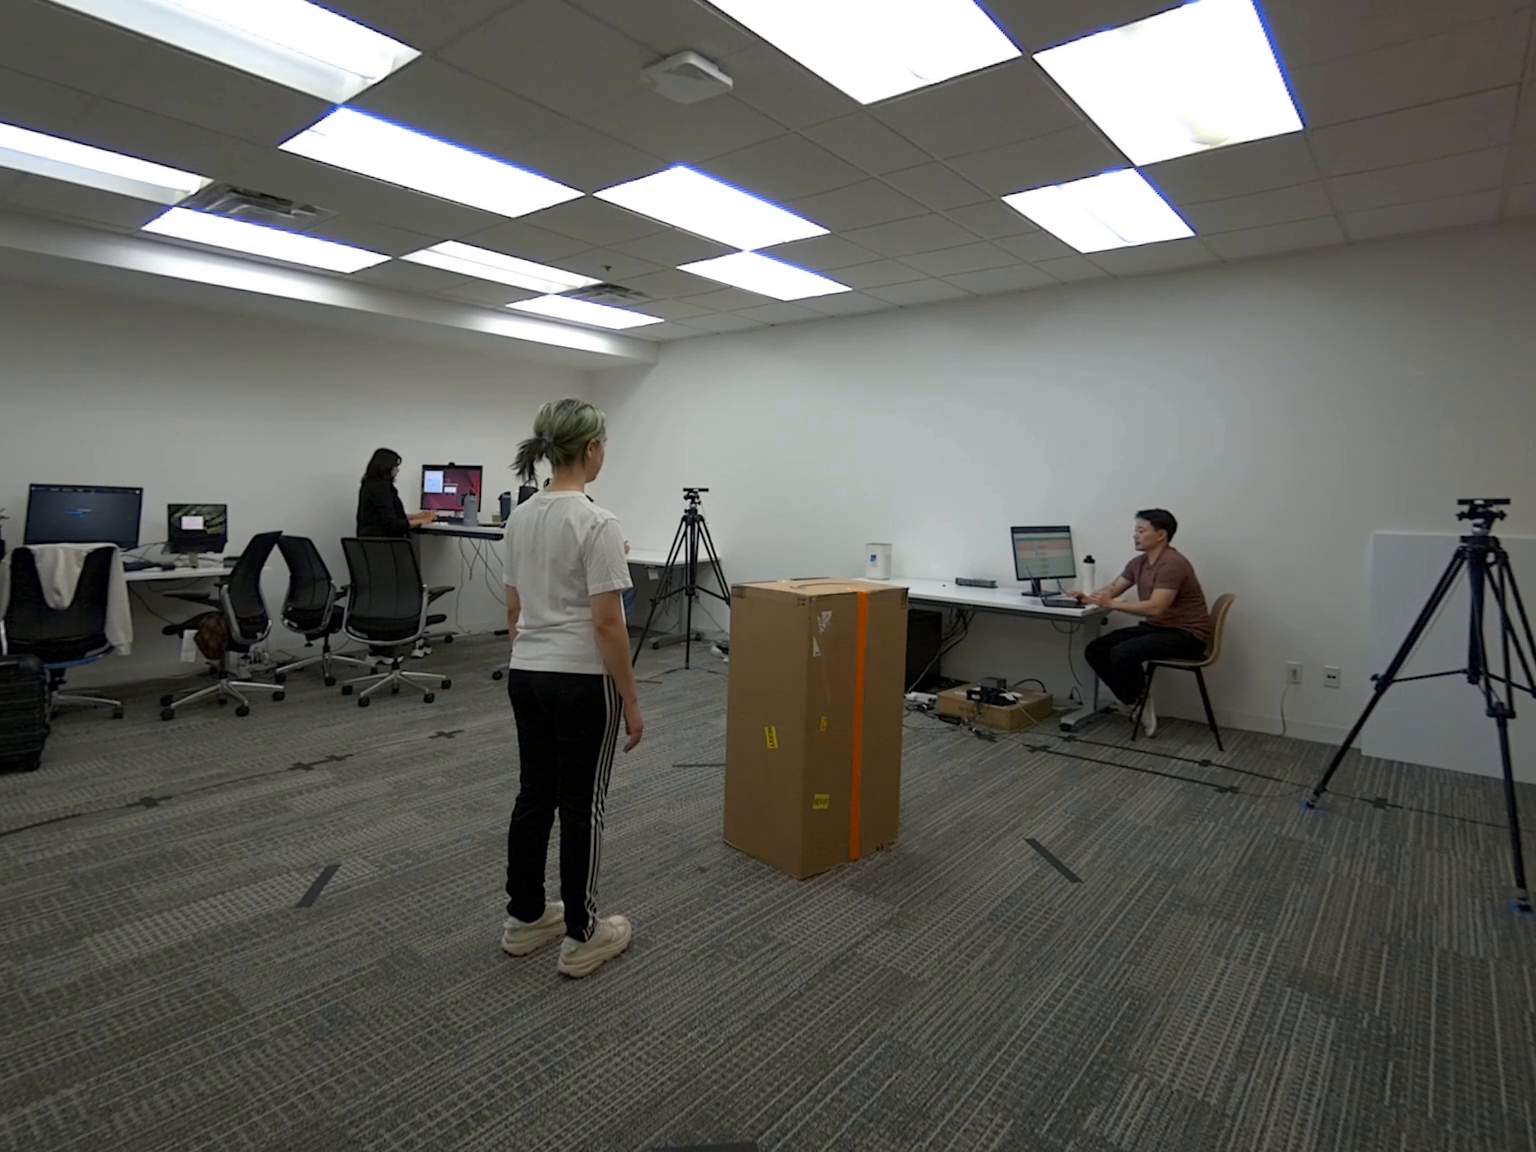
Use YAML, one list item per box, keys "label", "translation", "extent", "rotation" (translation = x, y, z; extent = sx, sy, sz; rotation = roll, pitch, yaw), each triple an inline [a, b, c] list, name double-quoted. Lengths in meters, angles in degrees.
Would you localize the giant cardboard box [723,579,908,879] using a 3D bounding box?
- label: "giant cardboard box"
  translation: [0.183, 0.547, 3.351]
  extent: [0.566, 1.025, 0.462]
  rotation: [-1, 3, -44]
